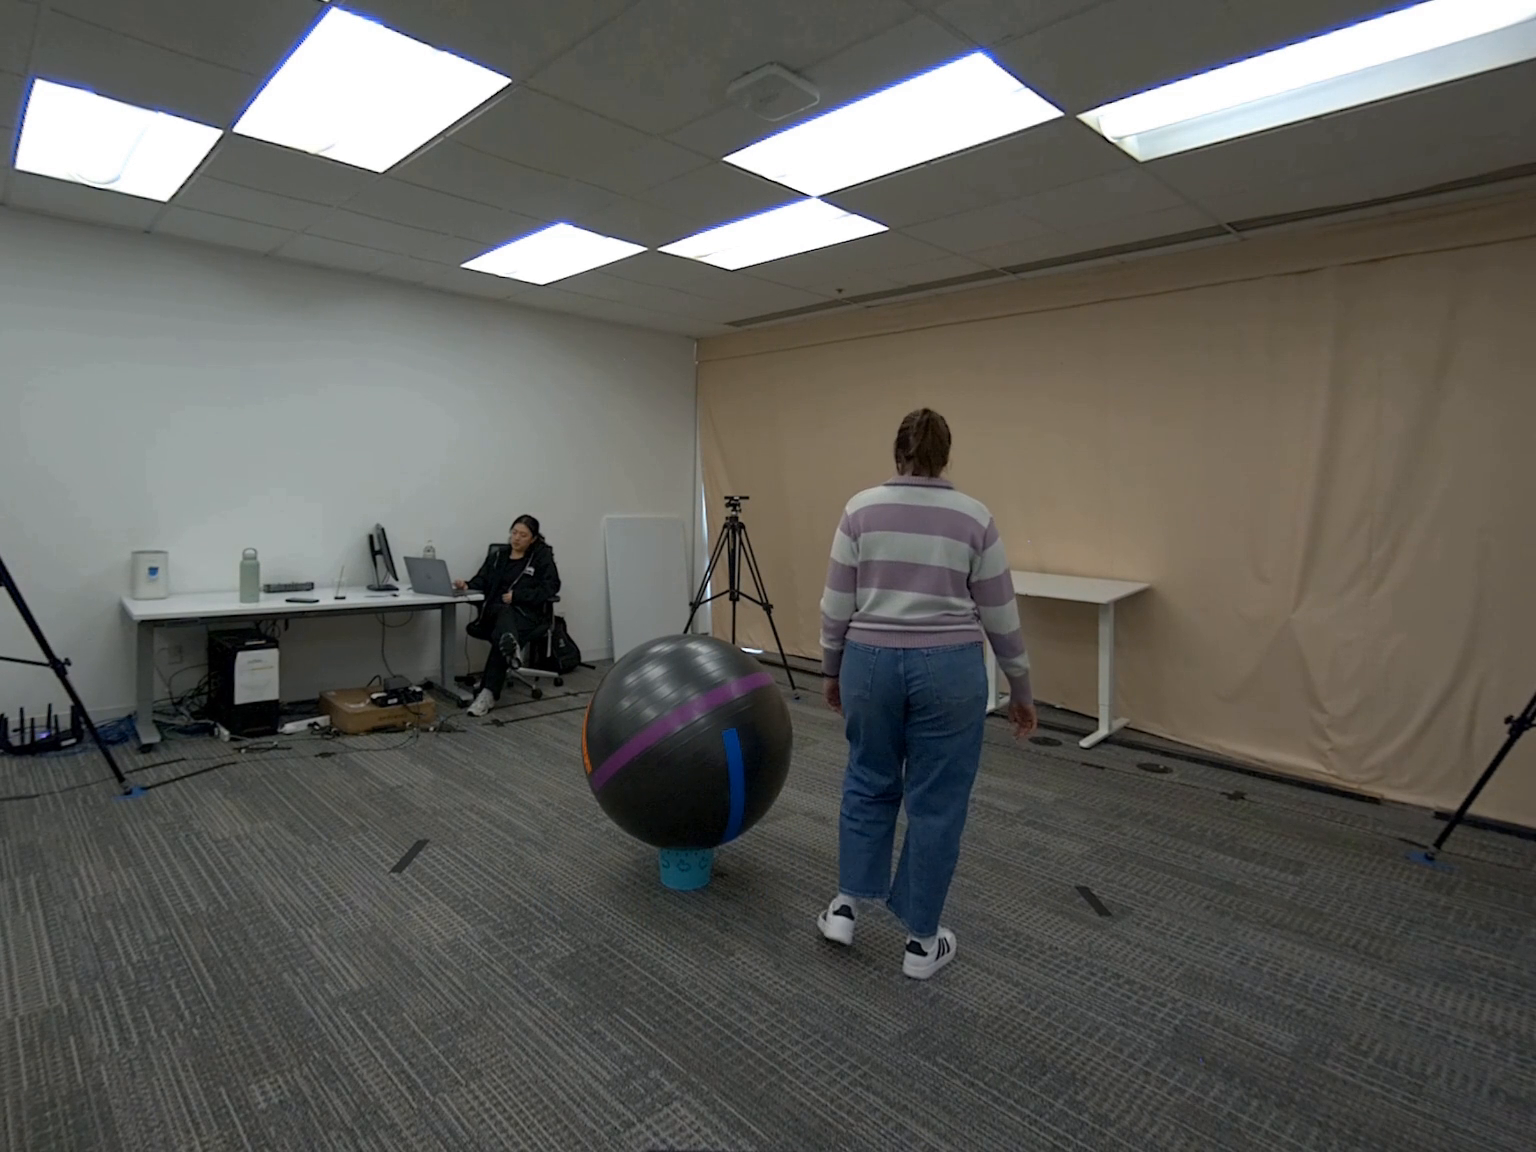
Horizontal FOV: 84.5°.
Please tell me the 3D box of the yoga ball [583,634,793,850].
[{"bbox_3d":[-0.296,0.594,3.050,0.757,0.756,0.761,1,4,-1],"label":"yoga ball"}]
